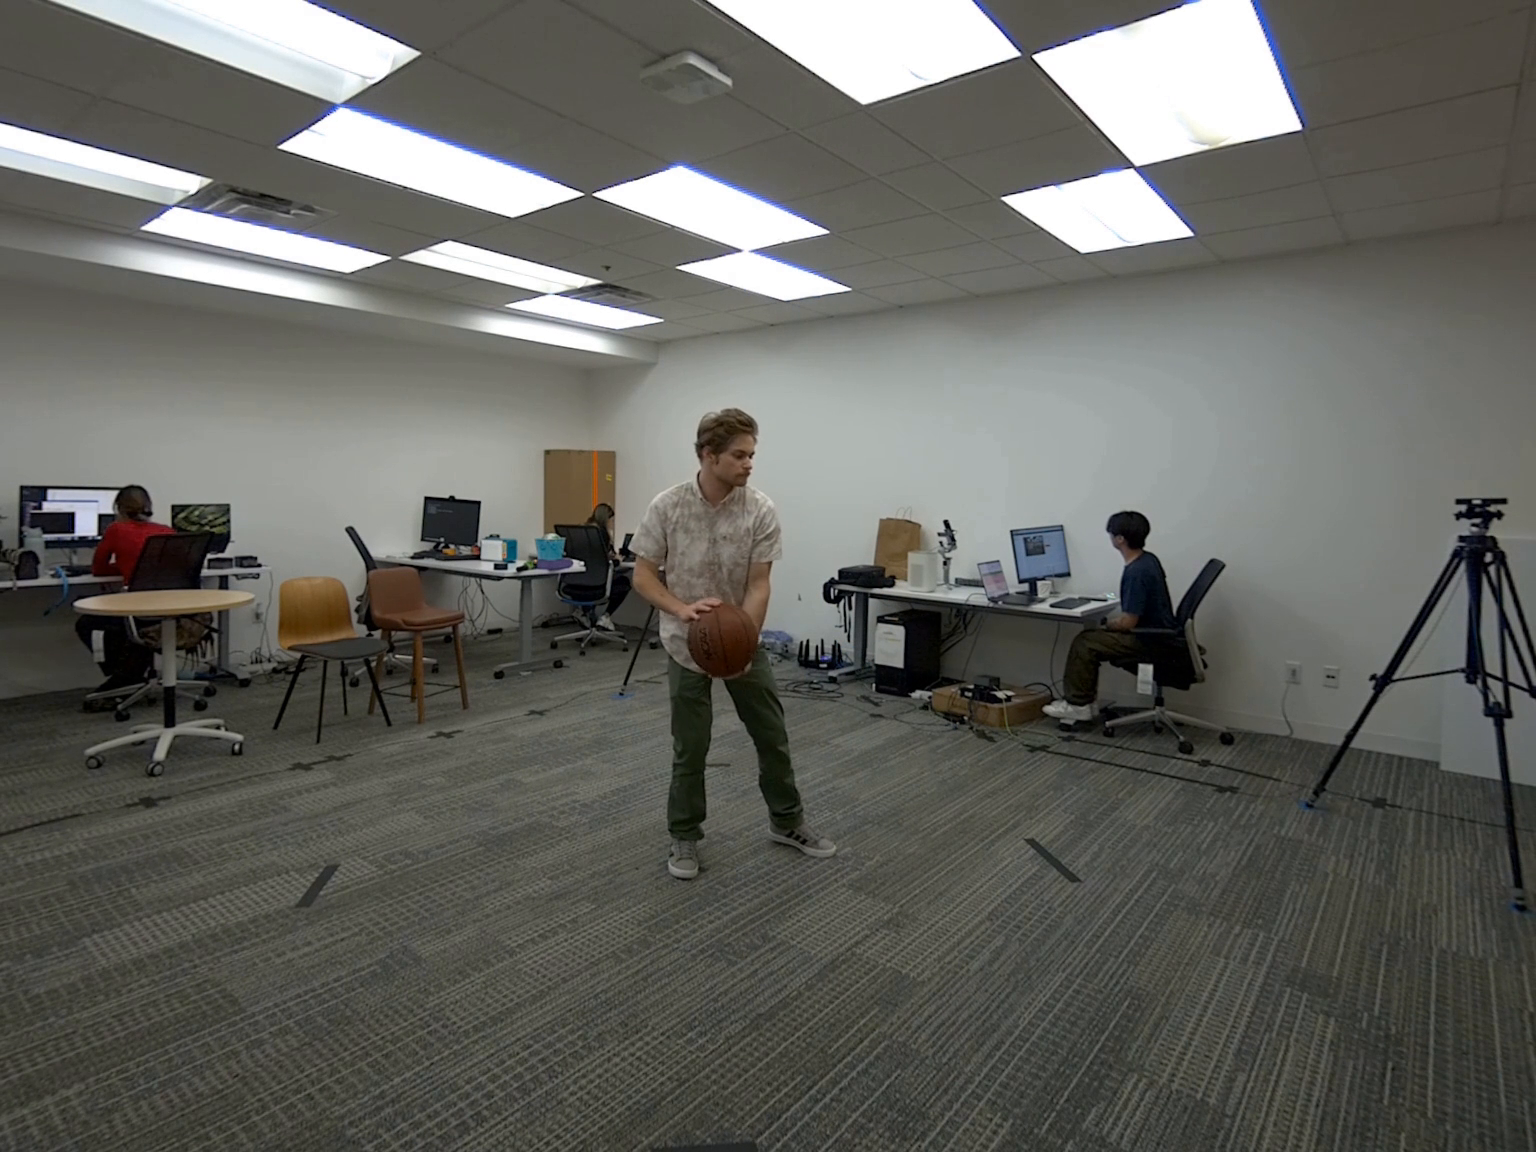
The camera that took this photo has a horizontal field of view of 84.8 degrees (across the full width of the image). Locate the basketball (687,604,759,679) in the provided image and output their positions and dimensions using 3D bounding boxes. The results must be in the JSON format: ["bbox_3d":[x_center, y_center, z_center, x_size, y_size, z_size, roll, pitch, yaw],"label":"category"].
[{"bbox_3d":[-0.165,0.200,2.842,0.236,0.235,0.237,1,4,-2],"label":"basketball"}]
